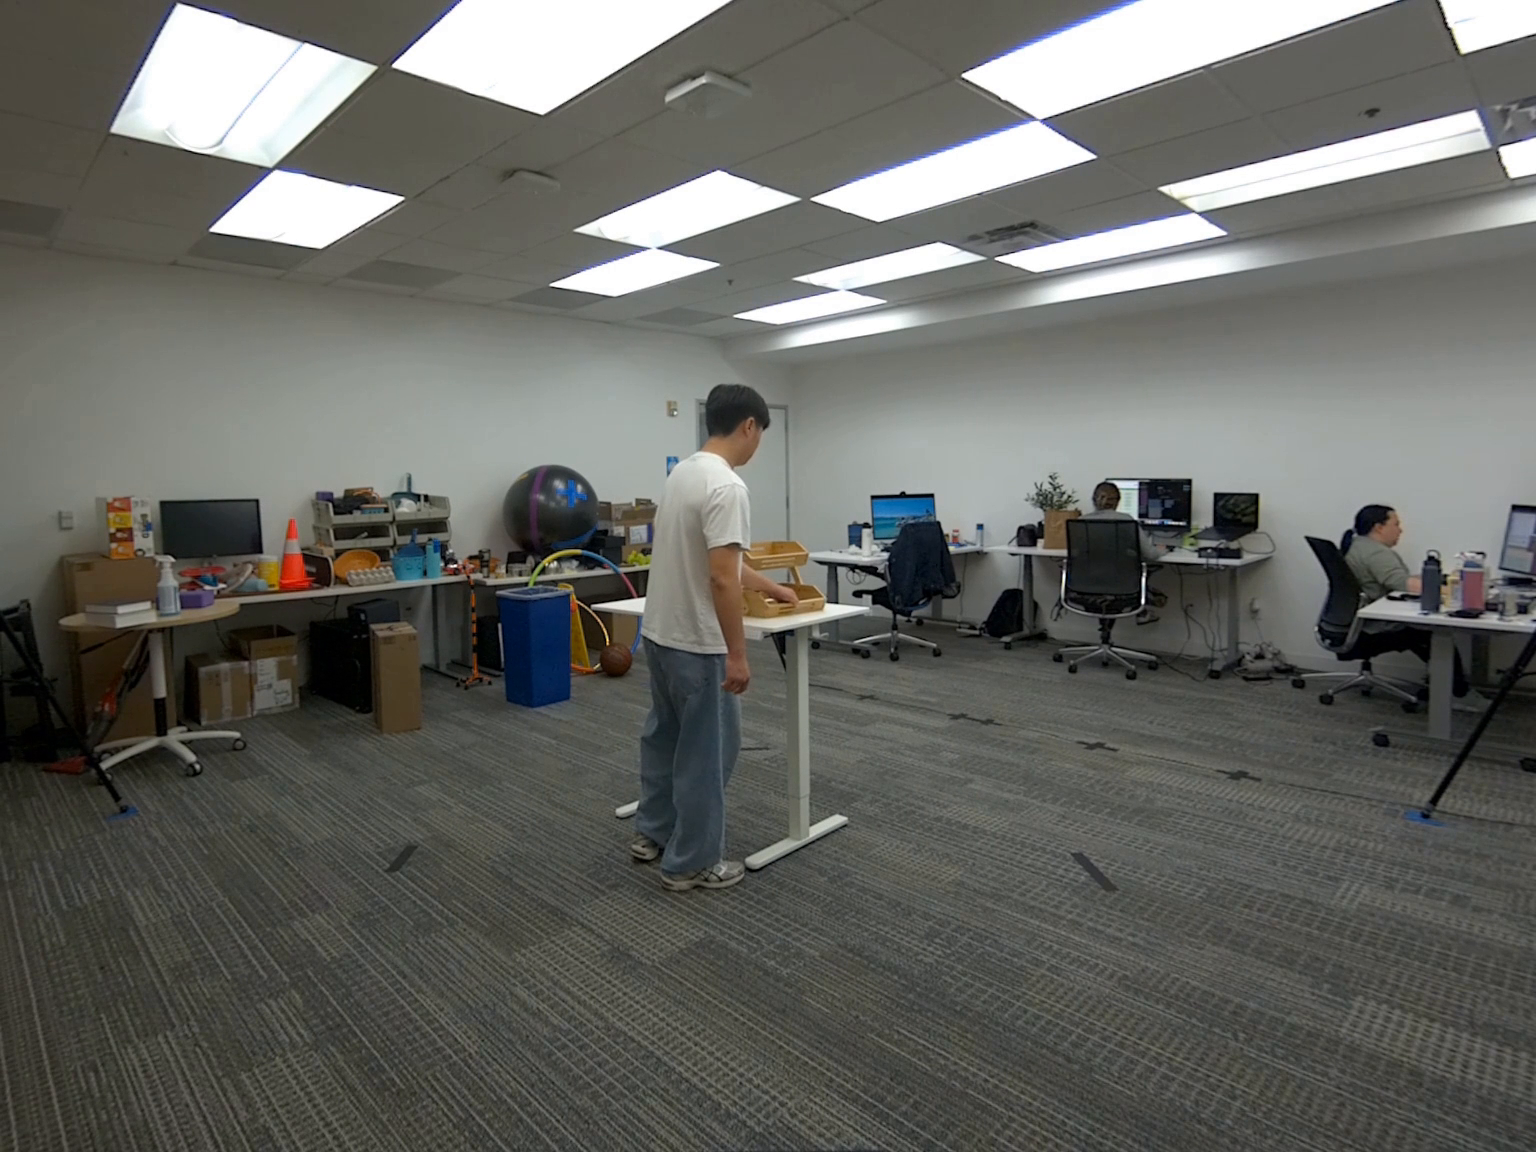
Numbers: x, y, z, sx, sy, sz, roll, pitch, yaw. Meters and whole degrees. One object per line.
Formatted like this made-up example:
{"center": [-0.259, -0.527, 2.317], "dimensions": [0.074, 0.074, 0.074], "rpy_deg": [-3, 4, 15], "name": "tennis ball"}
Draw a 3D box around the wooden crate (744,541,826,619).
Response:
{"center": [0.012, 0.003, 3.311], "dimensions": [0.316, 0.272, 0.311], "rpy_deg": [-5, 5, -40], "name": "wooden crate"}
